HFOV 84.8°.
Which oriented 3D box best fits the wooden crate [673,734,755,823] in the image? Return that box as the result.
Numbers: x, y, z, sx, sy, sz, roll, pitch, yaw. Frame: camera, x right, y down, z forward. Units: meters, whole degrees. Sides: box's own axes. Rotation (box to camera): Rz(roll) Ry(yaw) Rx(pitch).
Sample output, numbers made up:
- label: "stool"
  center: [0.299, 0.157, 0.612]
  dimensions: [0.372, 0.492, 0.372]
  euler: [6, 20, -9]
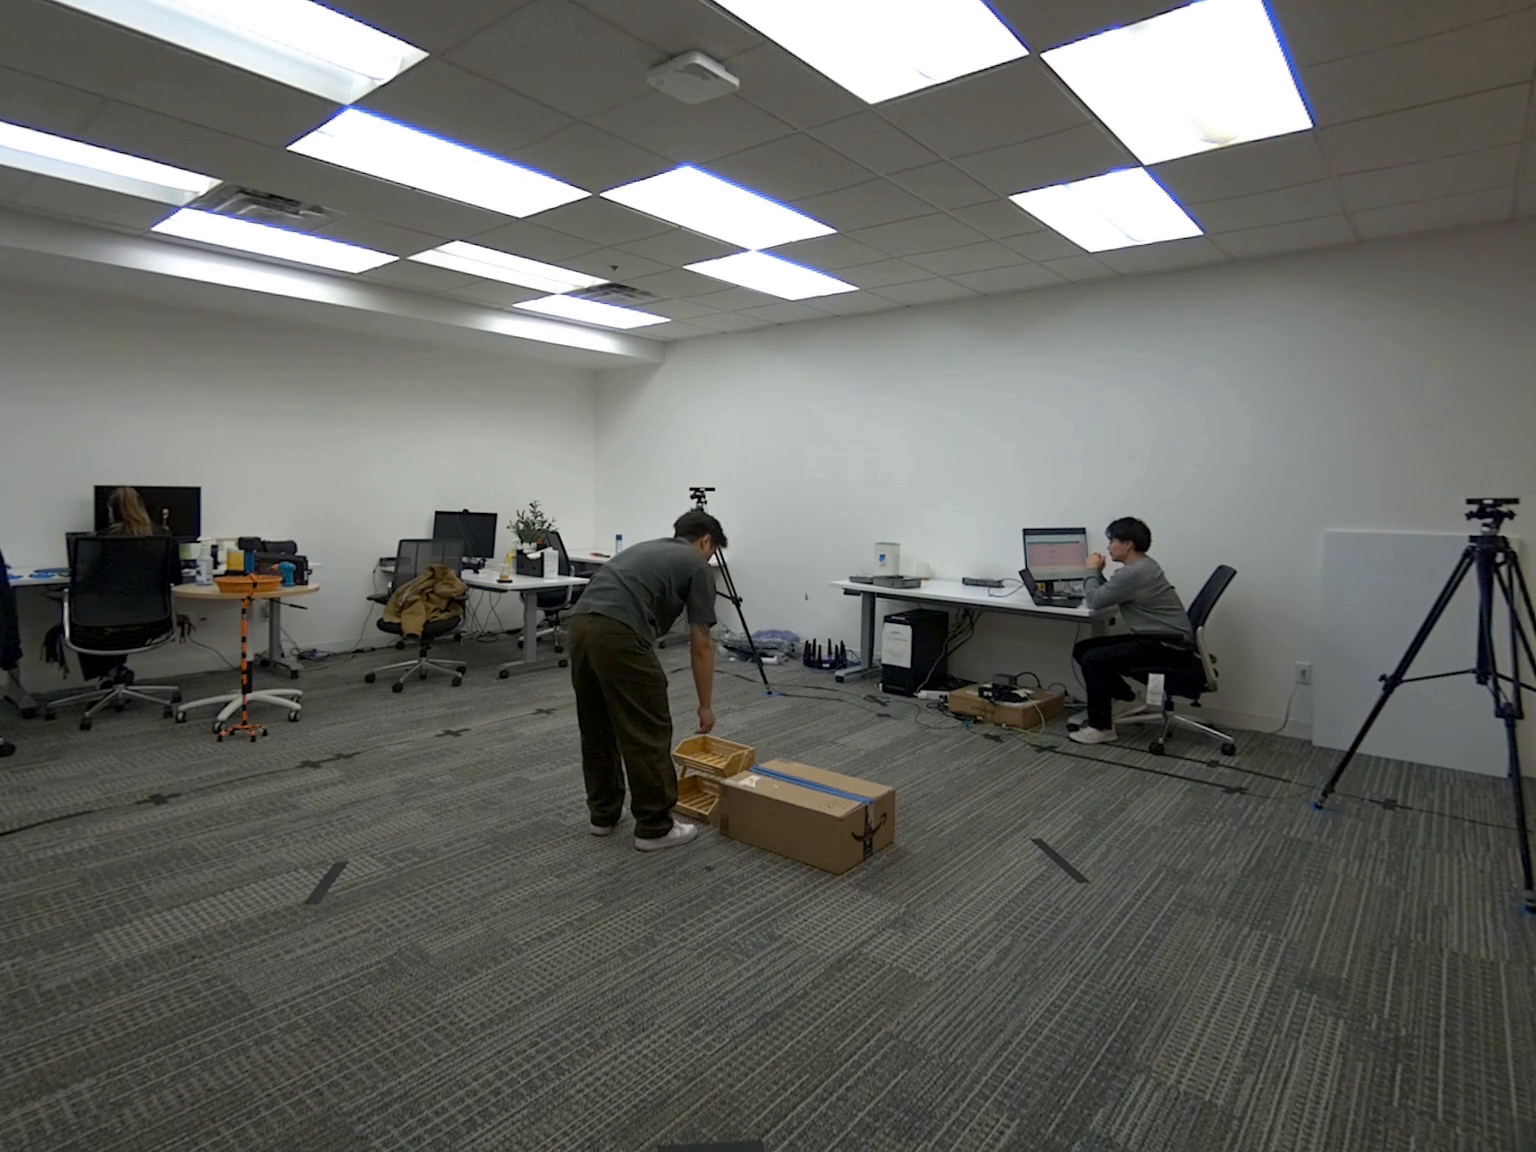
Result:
- label: "wooden crate"
  center: [-0.286, 0.868, 3.704]
  dimensions: [0.335, 0.272, 0.293]
  euler: [4, 5, 40]
